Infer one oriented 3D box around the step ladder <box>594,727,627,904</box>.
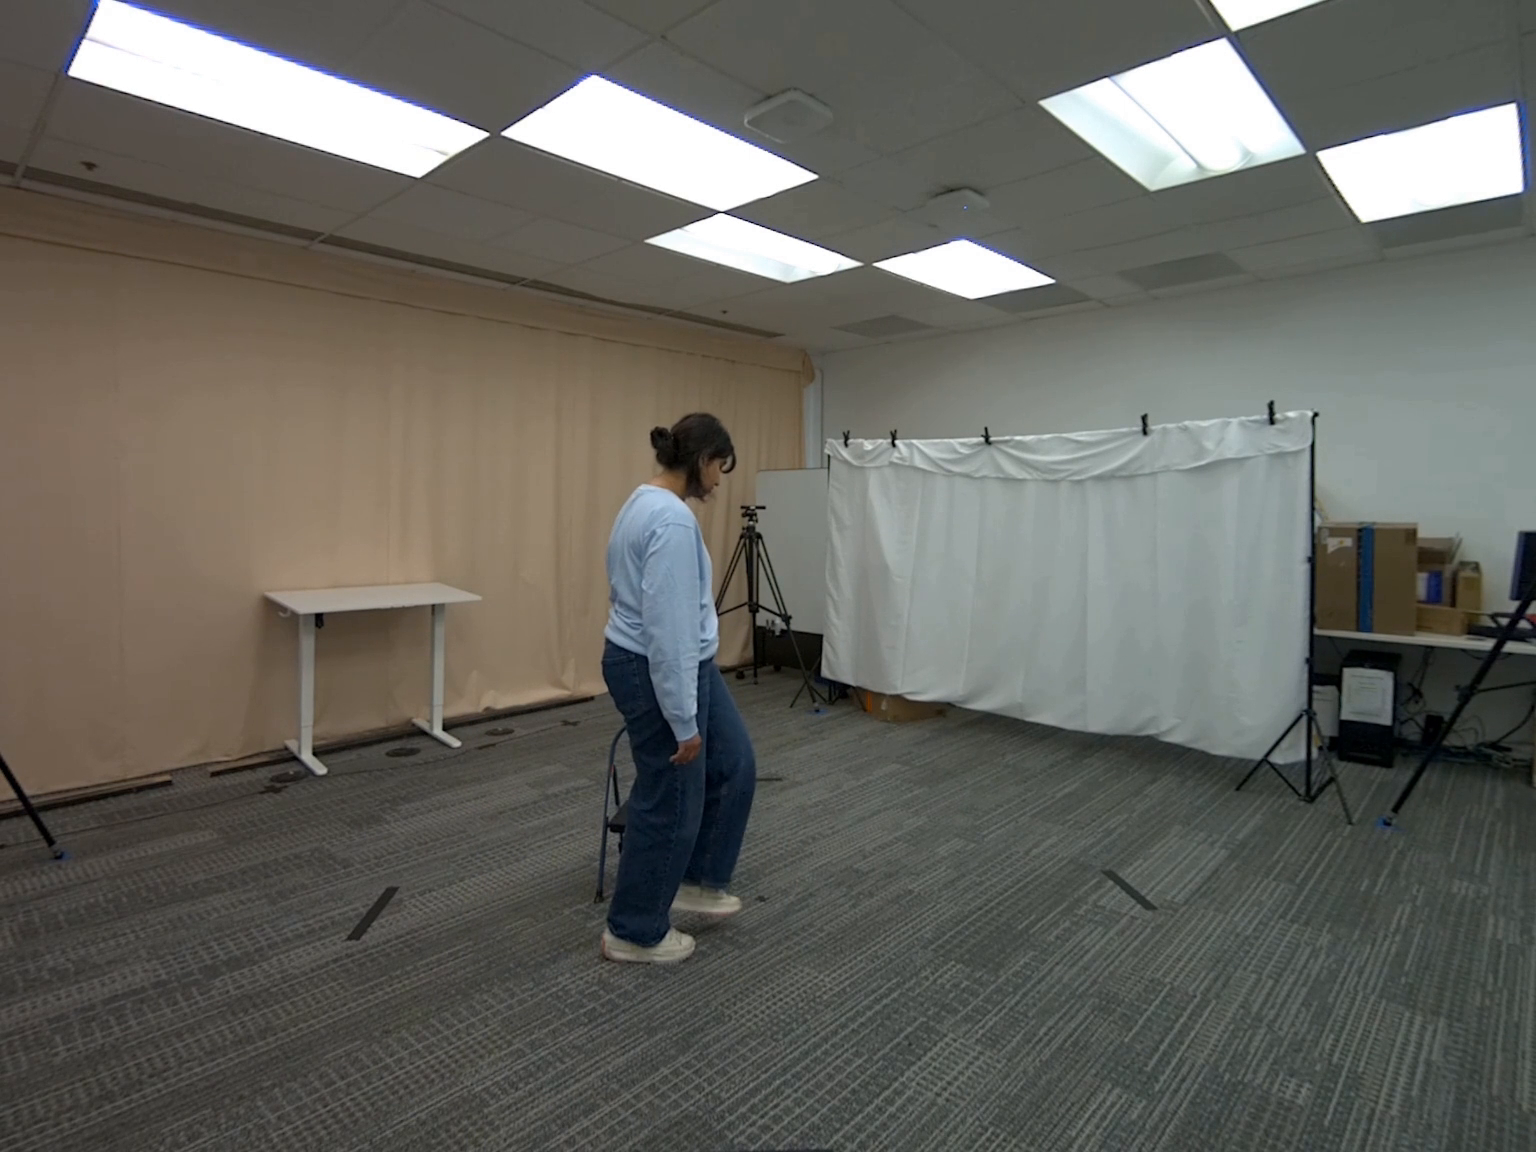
[{"bbox_3d":[-0.390,0.838,3.086,0.435,0.605,0.346,0,4,8],"label":"step ladder"}]
